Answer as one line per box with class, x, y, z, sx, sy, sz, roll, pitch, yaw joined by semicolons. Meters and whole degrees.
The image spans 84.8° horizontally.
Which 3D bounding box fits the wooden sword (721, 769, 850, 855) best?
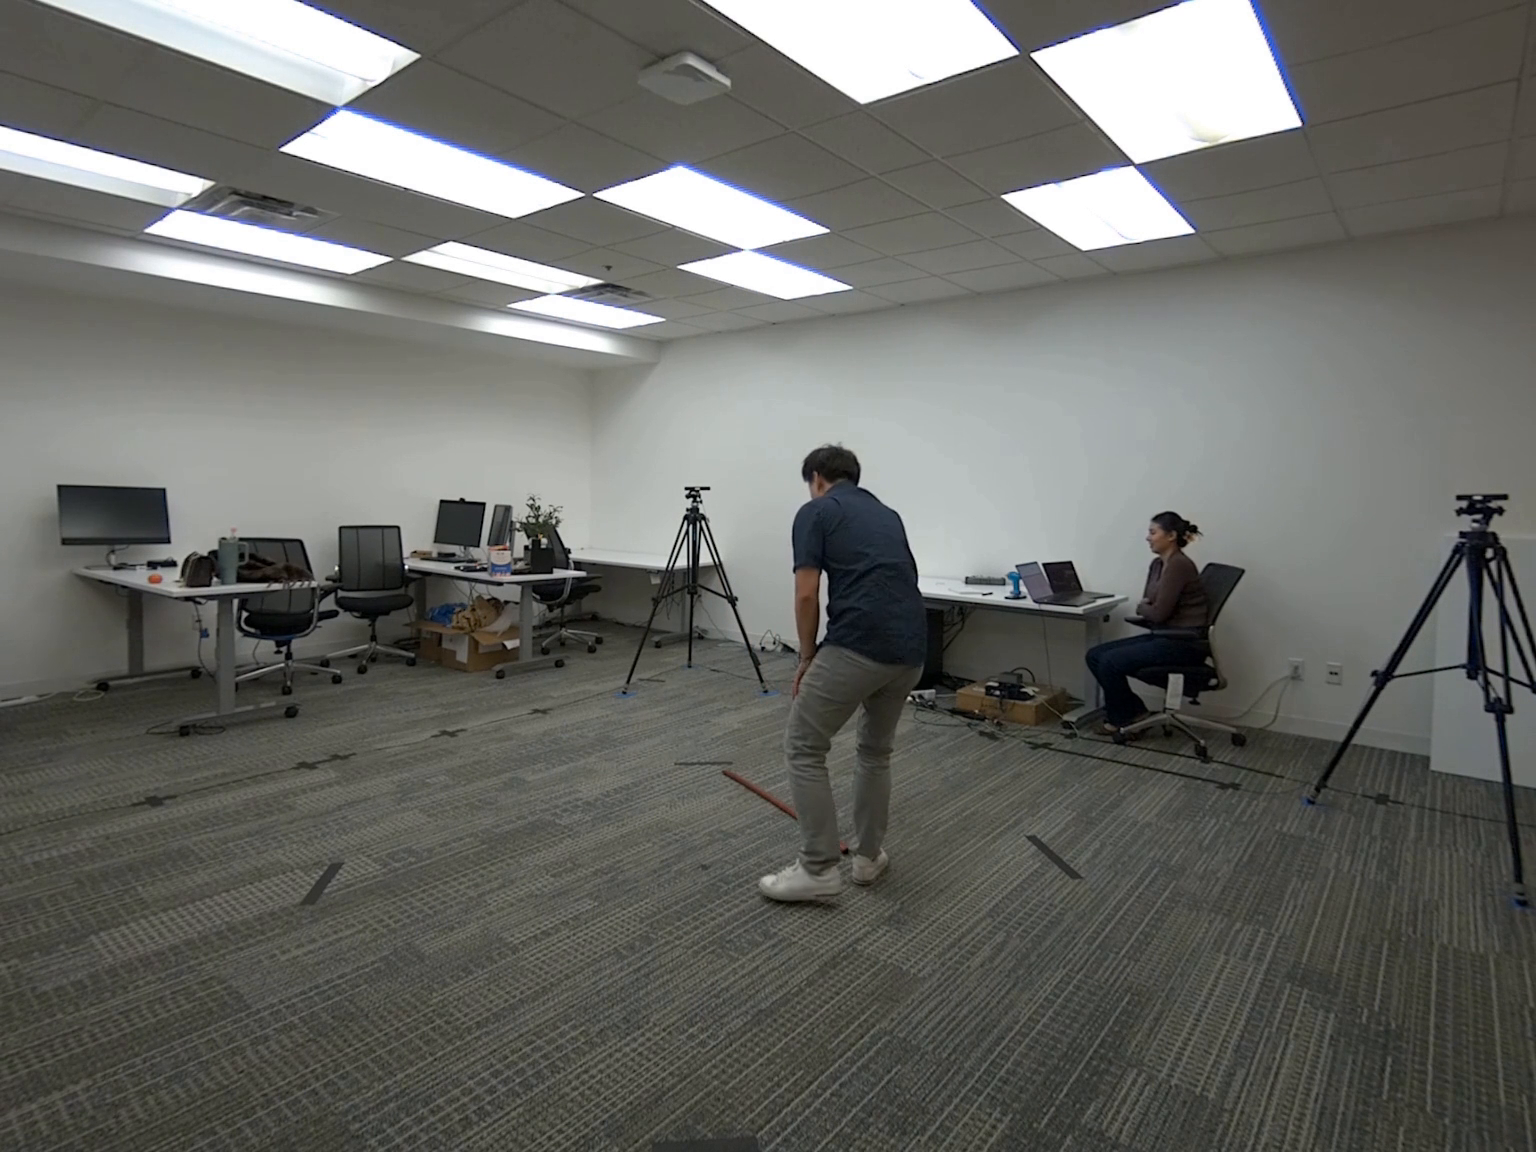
wooden sword;0.031;0.992;3.695;0.050;0.024;1.056;-6;8;-29
